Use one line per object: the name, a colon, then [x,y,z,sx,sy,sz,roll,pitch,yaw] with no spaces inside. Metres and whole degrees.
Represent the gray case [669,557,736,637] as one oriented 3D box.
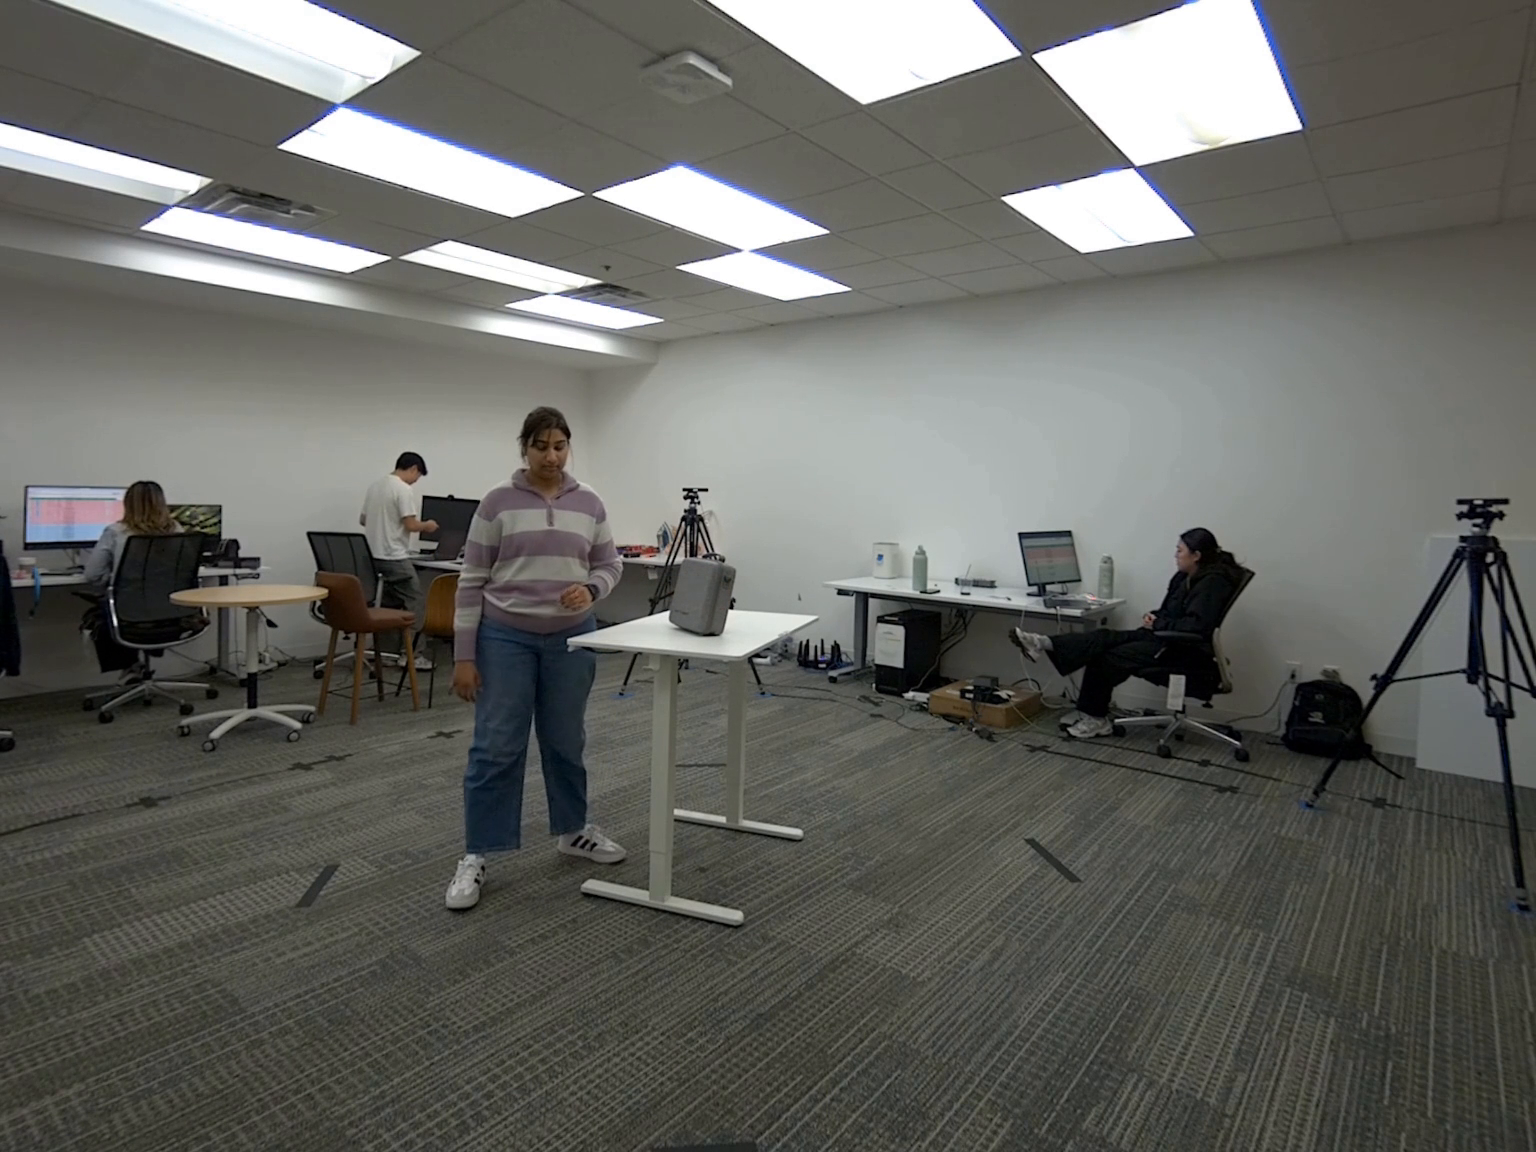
gray case: [-0.245,0.066,3.010,0.101,0.261,0.265,14,-3,-31]
